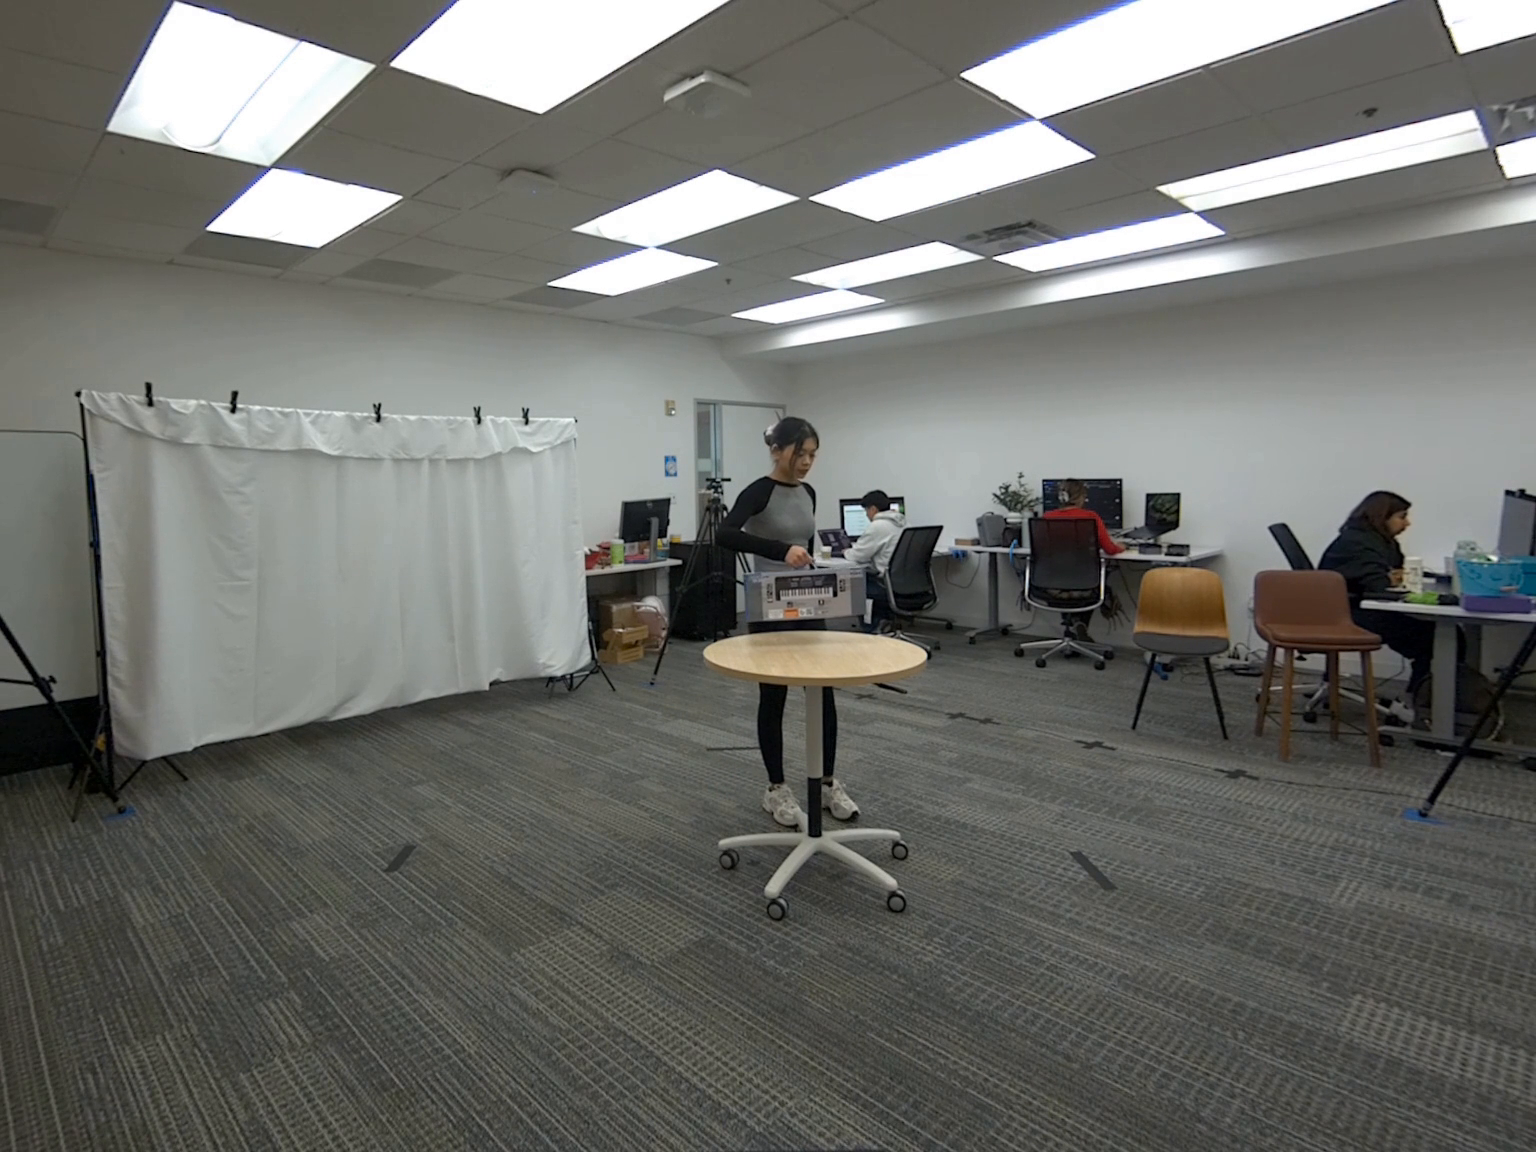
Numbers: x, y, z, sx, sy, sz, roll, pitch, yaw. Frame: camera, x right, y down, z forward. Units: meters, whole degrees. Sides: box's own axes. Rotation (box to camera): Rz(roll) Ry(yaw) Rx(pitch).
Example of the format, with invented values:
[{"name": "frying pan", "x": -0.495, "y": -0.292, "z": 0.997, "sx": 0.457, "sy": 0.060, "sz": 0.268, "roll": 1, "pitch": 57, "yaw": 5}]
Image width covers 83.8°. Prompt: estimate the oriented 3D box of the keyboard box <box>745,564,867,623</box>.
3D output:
[{"name": "keyboard box", "x": 0.139, "y": 0.068, "z": 3.081, "sx": 0.434, "sy": 0.176, "sz": 0.059, "roll": -4, "pitch": 2, "yaw": -6}]
